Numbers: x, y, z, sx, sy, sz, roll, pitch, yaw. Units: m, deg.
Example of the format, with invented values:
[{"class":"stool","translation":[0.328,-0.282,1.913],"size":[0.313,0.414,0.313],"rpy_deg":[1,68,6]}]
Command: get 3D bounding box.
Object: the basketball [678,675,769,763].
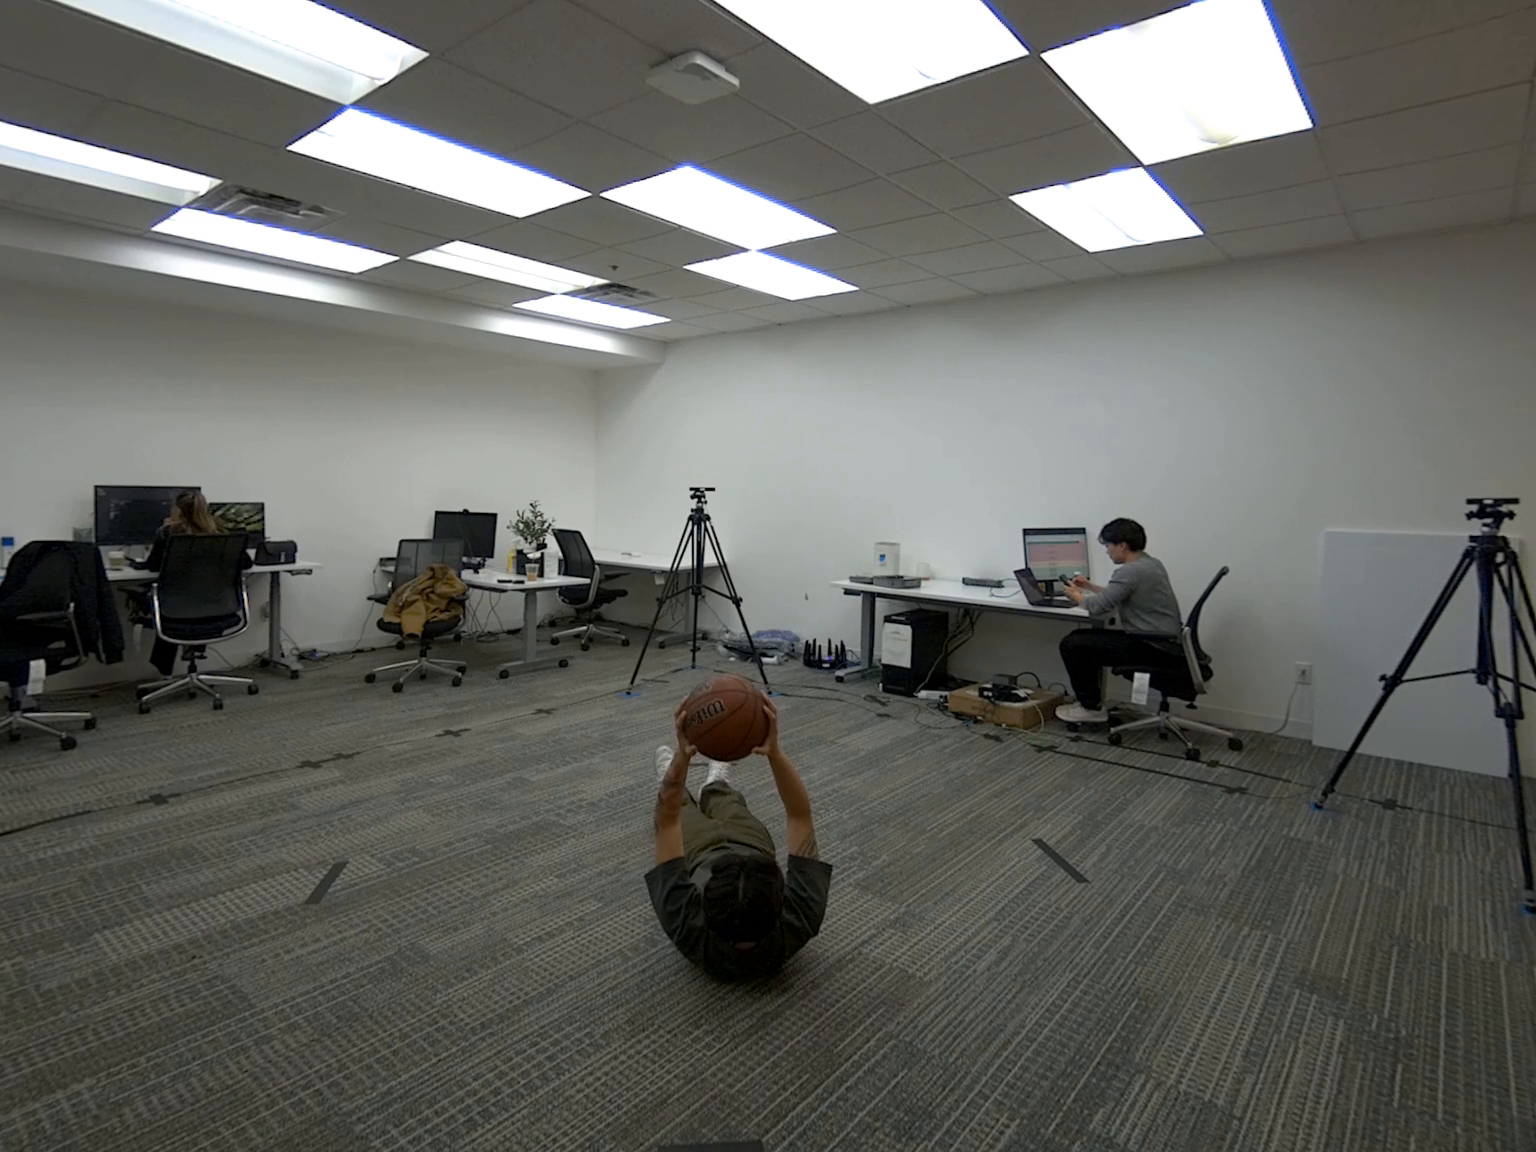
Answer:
[{"class":"basketball","translation":[-0.122,0.396,2.363],"size":[0.235,0.235,0.237],"rpy_deg":[1,4,-2]}]
